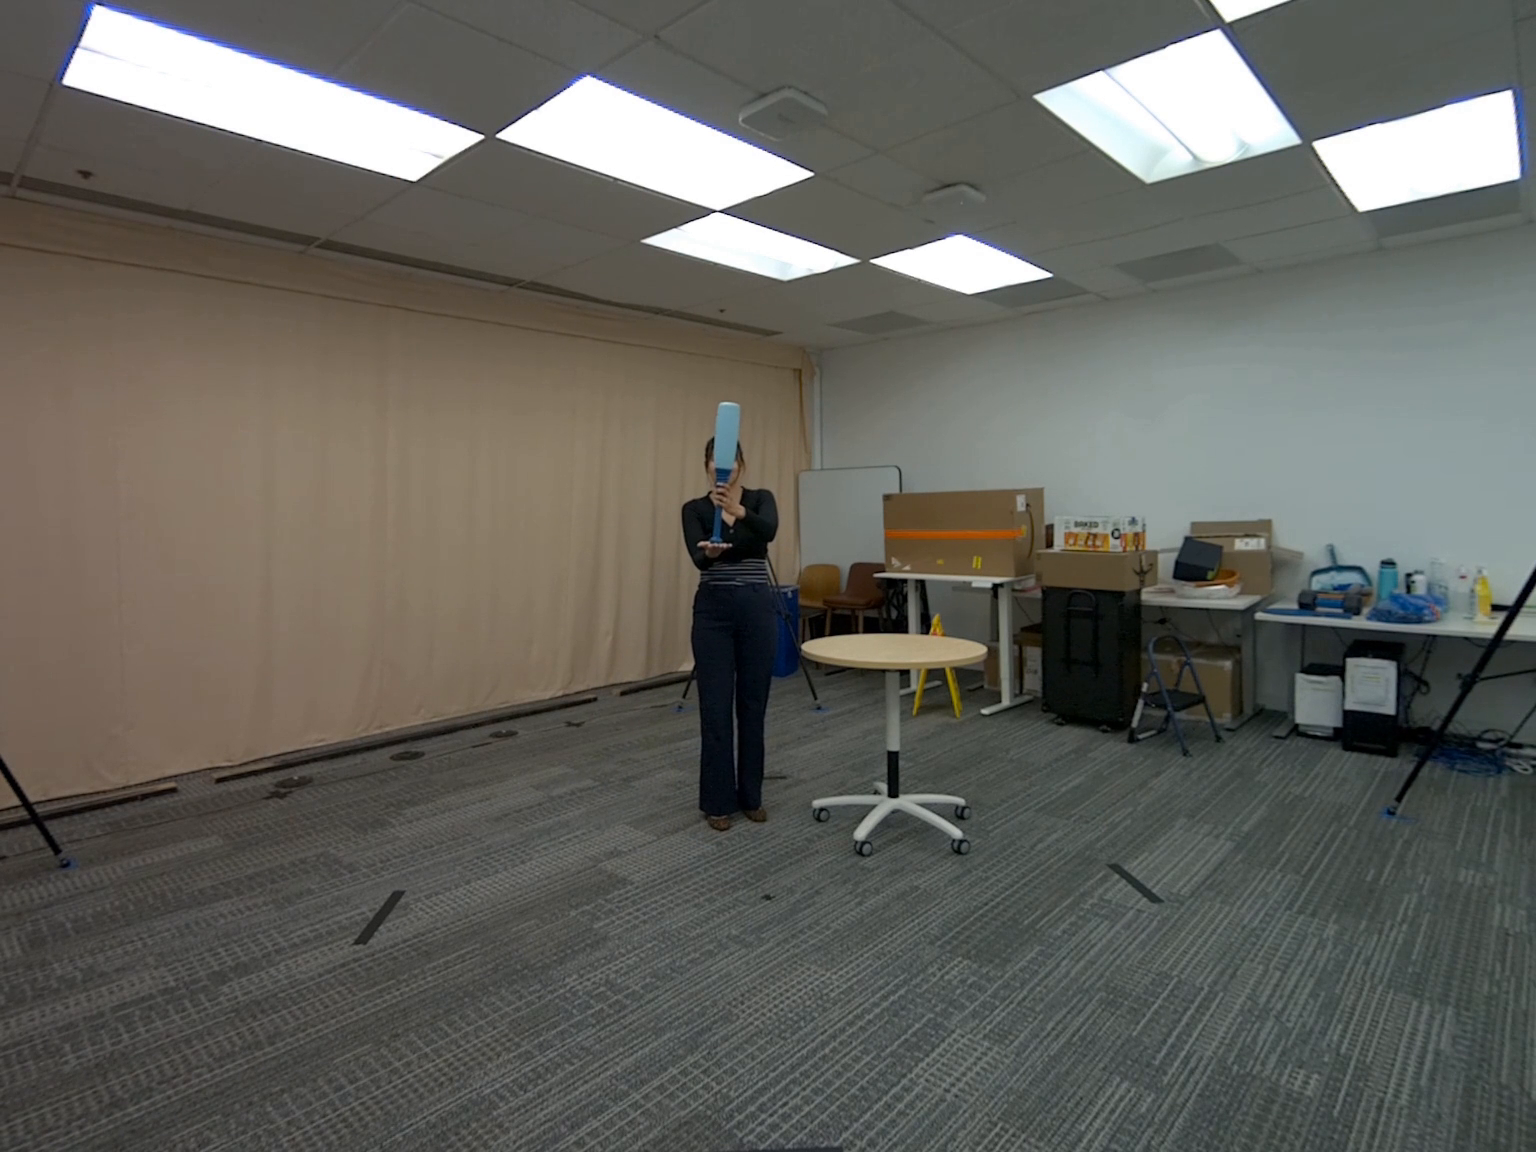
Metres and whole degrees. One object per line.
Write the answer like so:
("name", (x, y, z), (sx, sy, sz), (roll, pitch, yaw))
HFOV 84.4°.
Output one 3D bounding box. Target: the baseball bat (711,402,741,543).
("baseball bat", (-0.170, -0.392, 3.239), (0.089, 0.542, 0.089), (5, 2, -2))
